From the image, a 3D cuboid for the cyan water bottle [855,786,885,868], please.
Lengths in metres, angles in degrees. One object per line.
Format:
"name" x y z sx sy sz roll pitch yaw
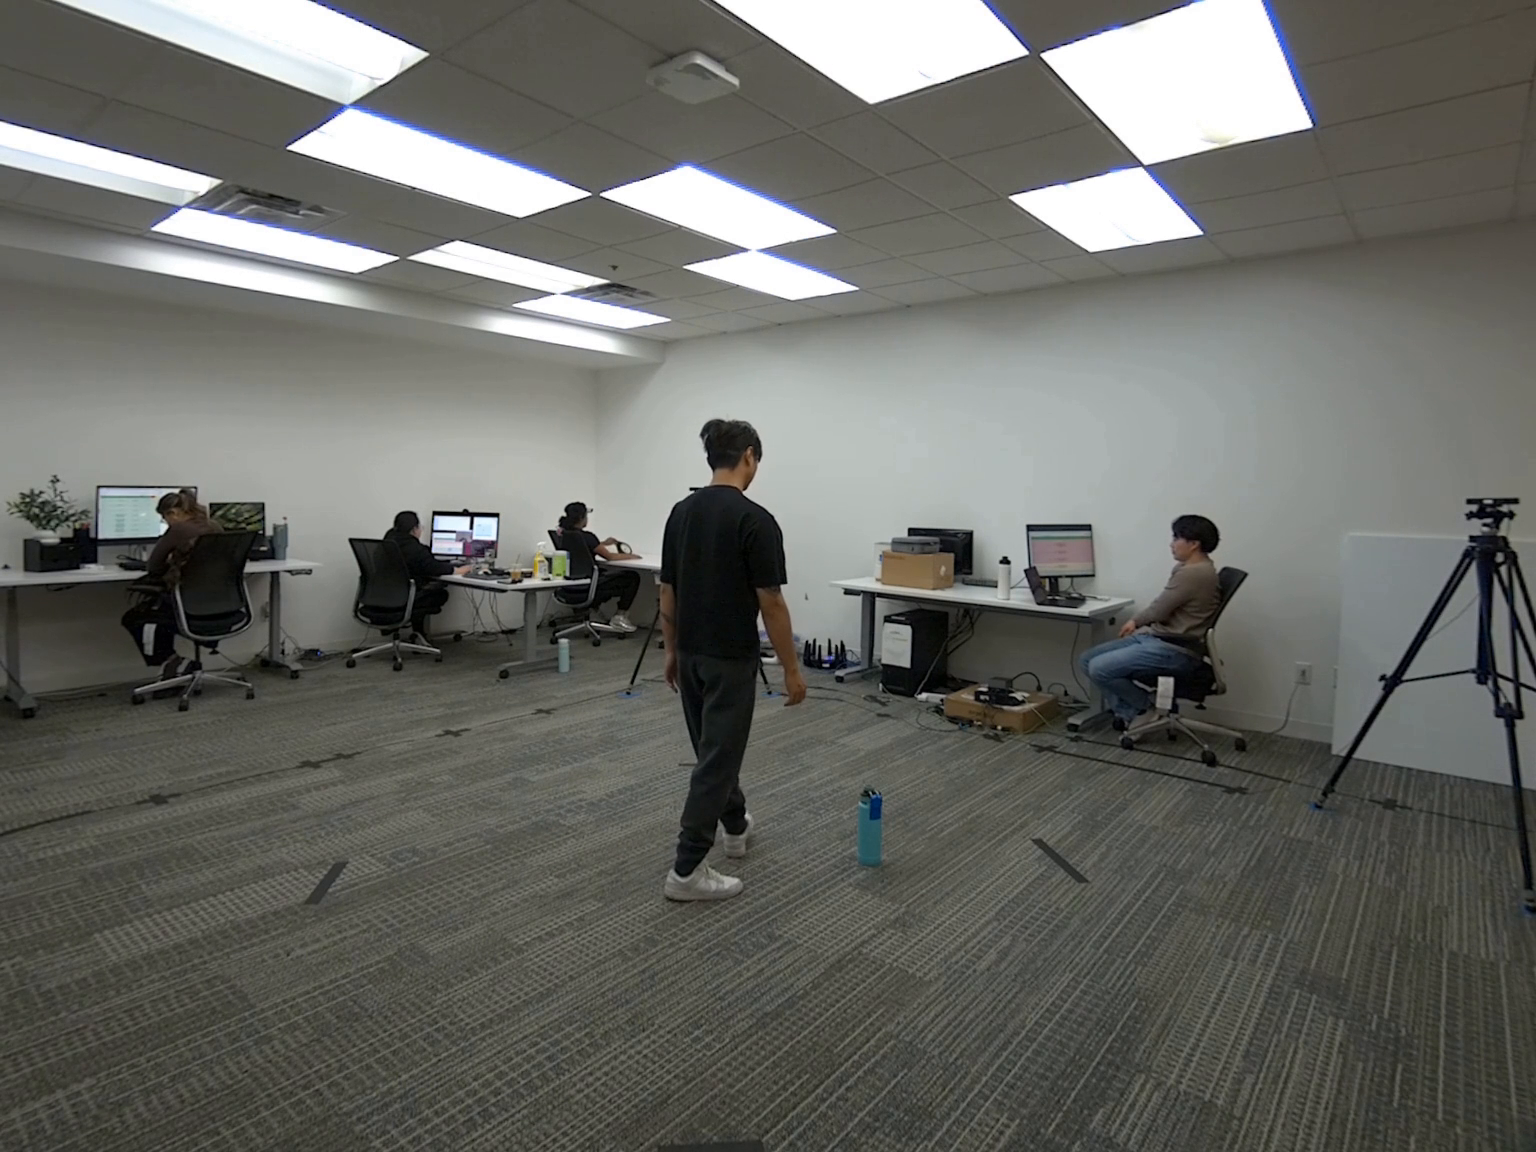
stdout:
"cyan water bottle" 0.379 0.934 3.196 0.092 0.282 0.093 1 4 -2
